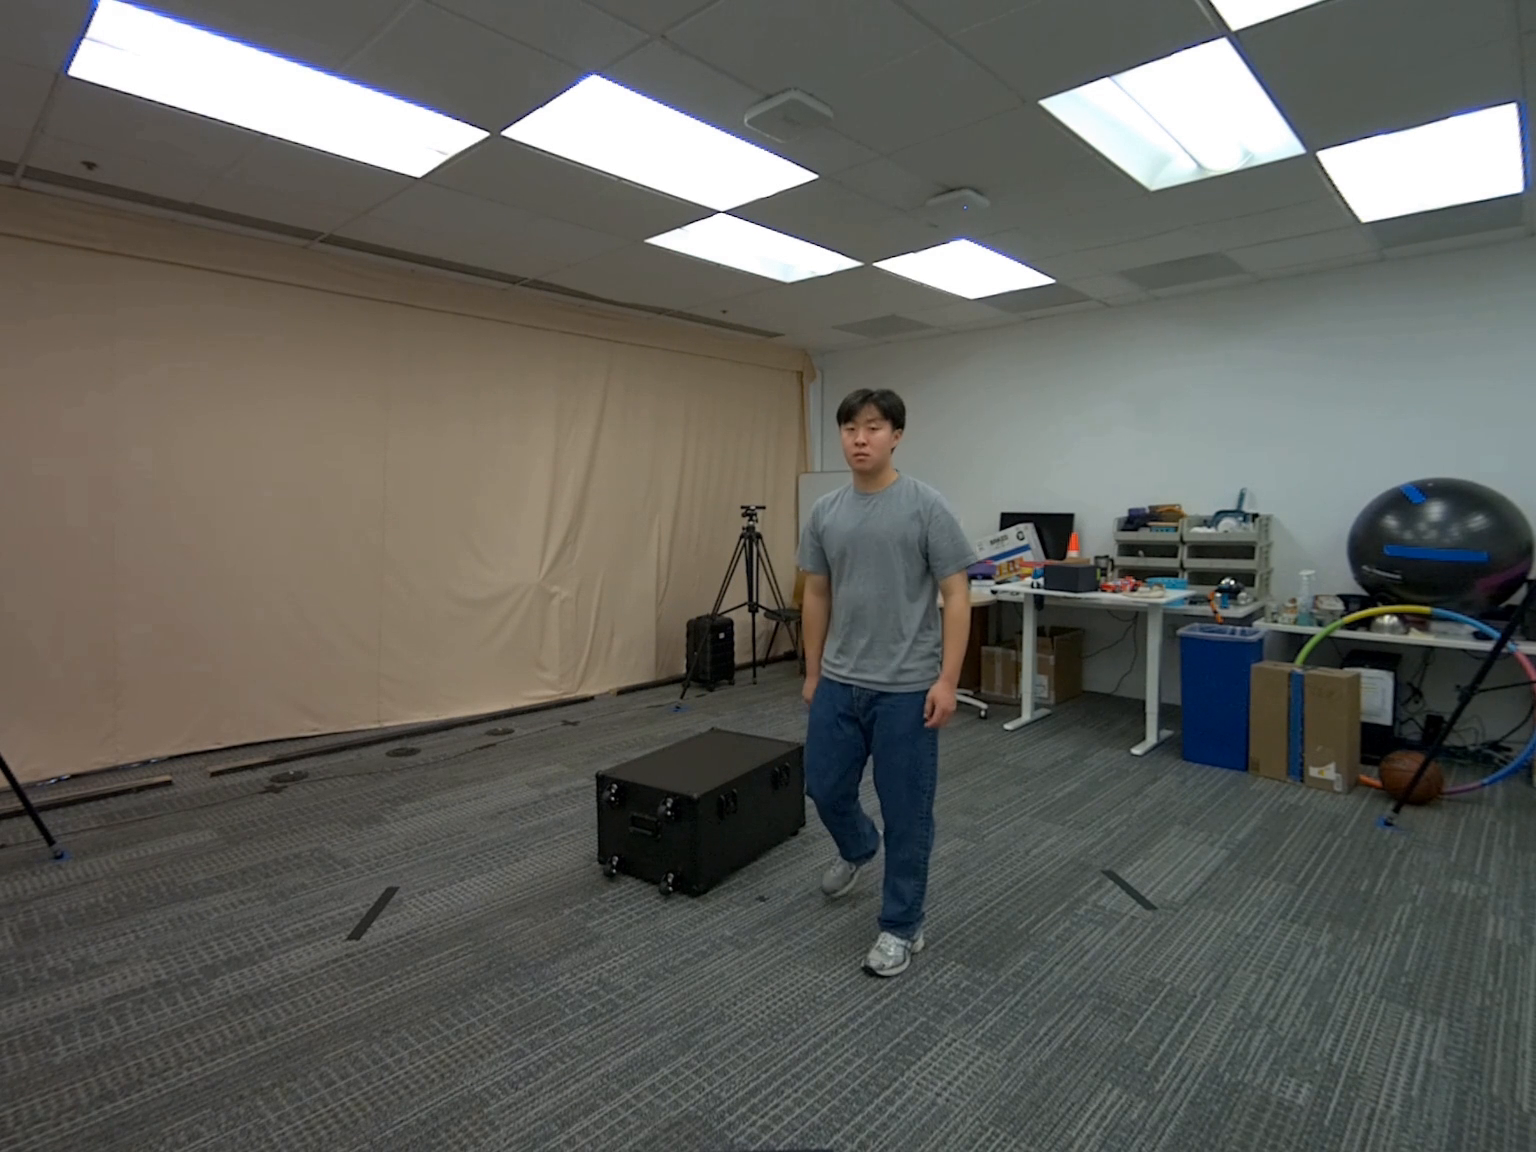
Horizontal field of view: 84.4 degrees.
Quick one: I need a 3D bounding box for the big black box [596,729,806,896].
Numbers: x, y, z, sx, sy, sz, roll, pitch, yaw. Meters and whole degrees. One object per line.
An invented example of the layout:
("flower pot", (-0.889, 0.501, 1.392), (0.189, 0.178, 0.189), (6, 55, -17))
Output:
("big black box", (-0.265, 0.922, 3.383), (0.537, 0.395, 0.837), (3, 5, 33))
